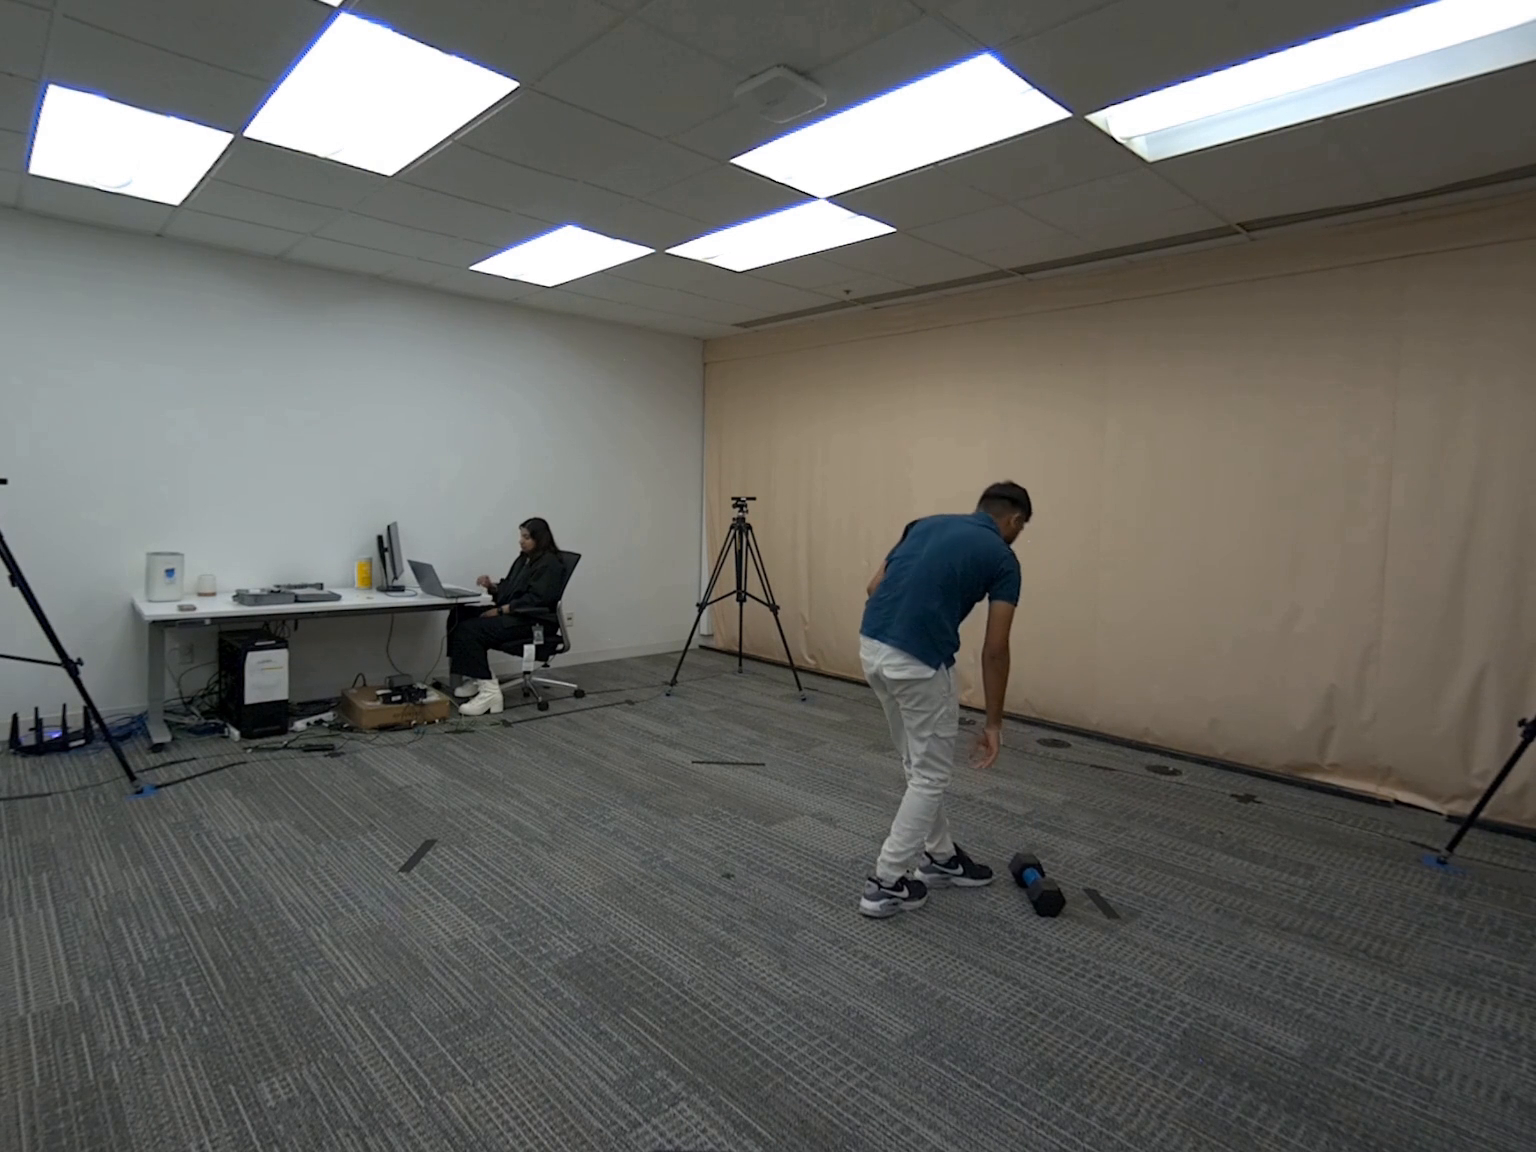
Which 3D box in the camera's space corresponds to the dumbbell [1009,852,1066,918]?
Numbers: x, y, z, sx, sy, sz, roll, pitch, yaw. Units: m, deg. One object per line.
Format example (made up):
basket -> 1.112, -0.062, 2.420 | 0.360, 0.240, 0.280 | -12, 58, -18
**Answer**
dumbbell -> 0.937, 1.092, 2.995 | 0.123, 0.108, 0.294 | 0, 5, -2
